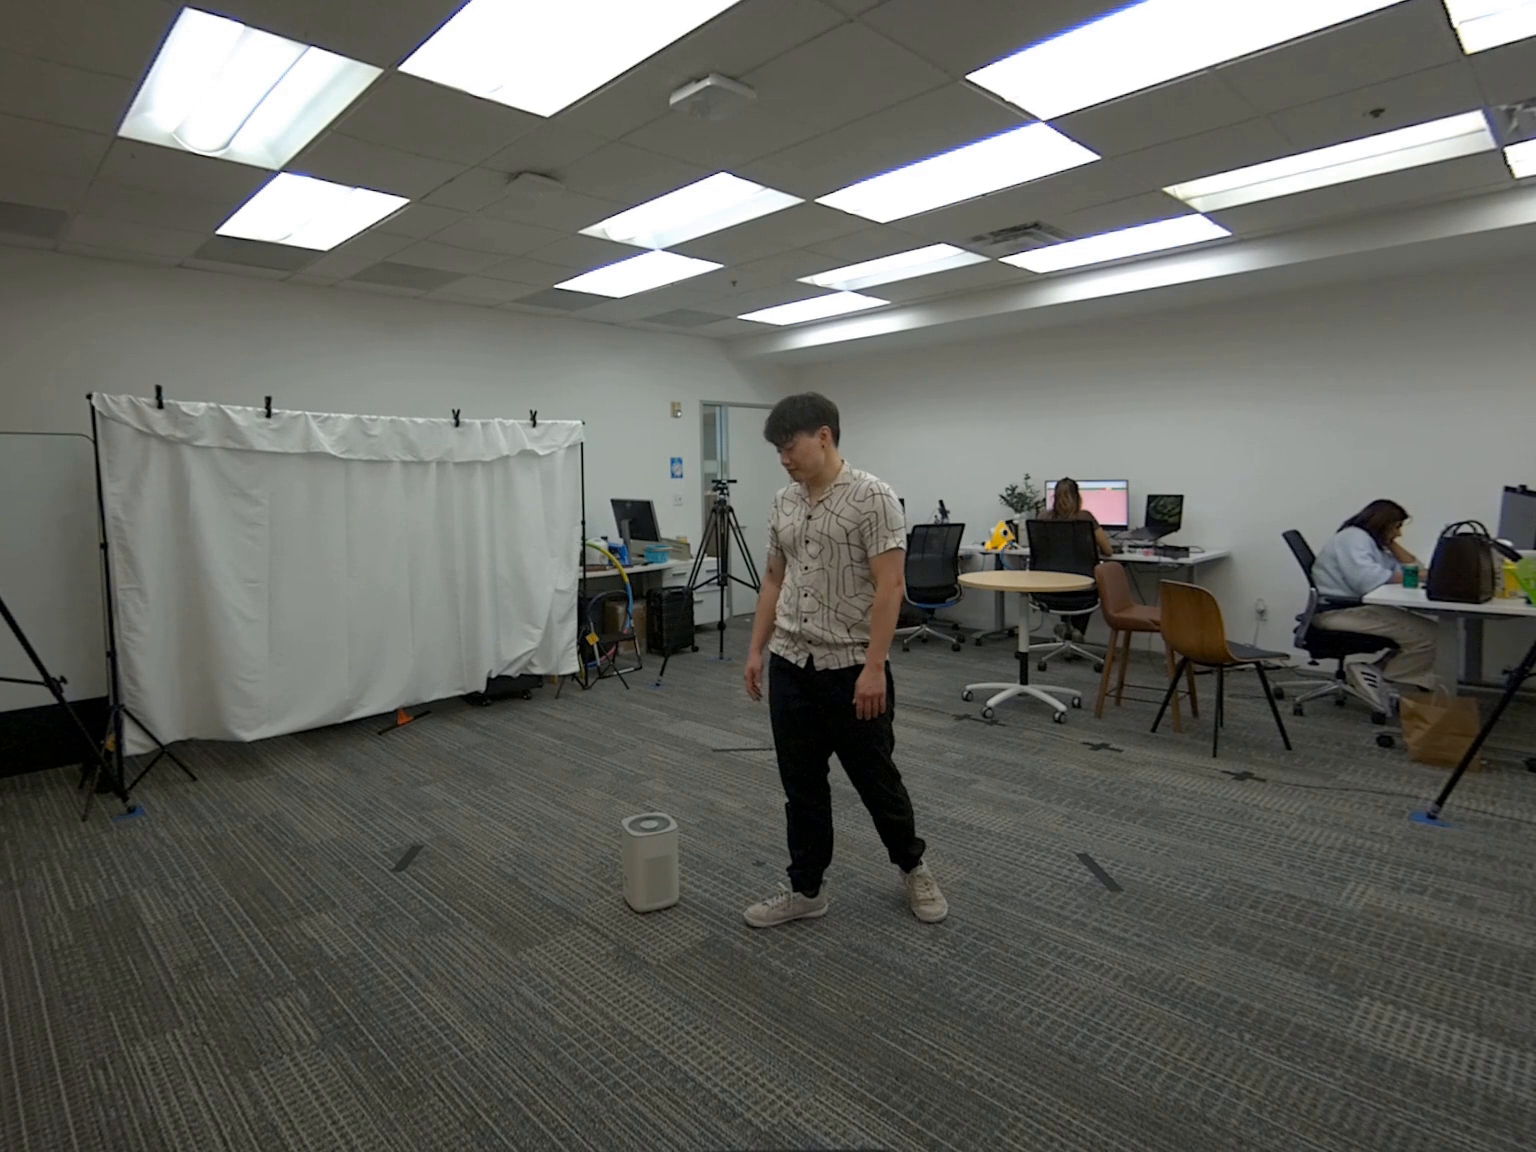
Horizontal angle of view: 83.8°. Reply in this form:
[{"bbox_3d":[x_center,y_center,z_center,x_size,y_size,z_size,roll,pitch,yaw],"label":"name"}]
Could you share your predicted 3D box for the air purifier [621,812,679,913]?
[{"bbox_3d":[-0.393,0.953,2.836,0.168,0.264,0.176,-2,6,-23],"label":"air purifier"}]
